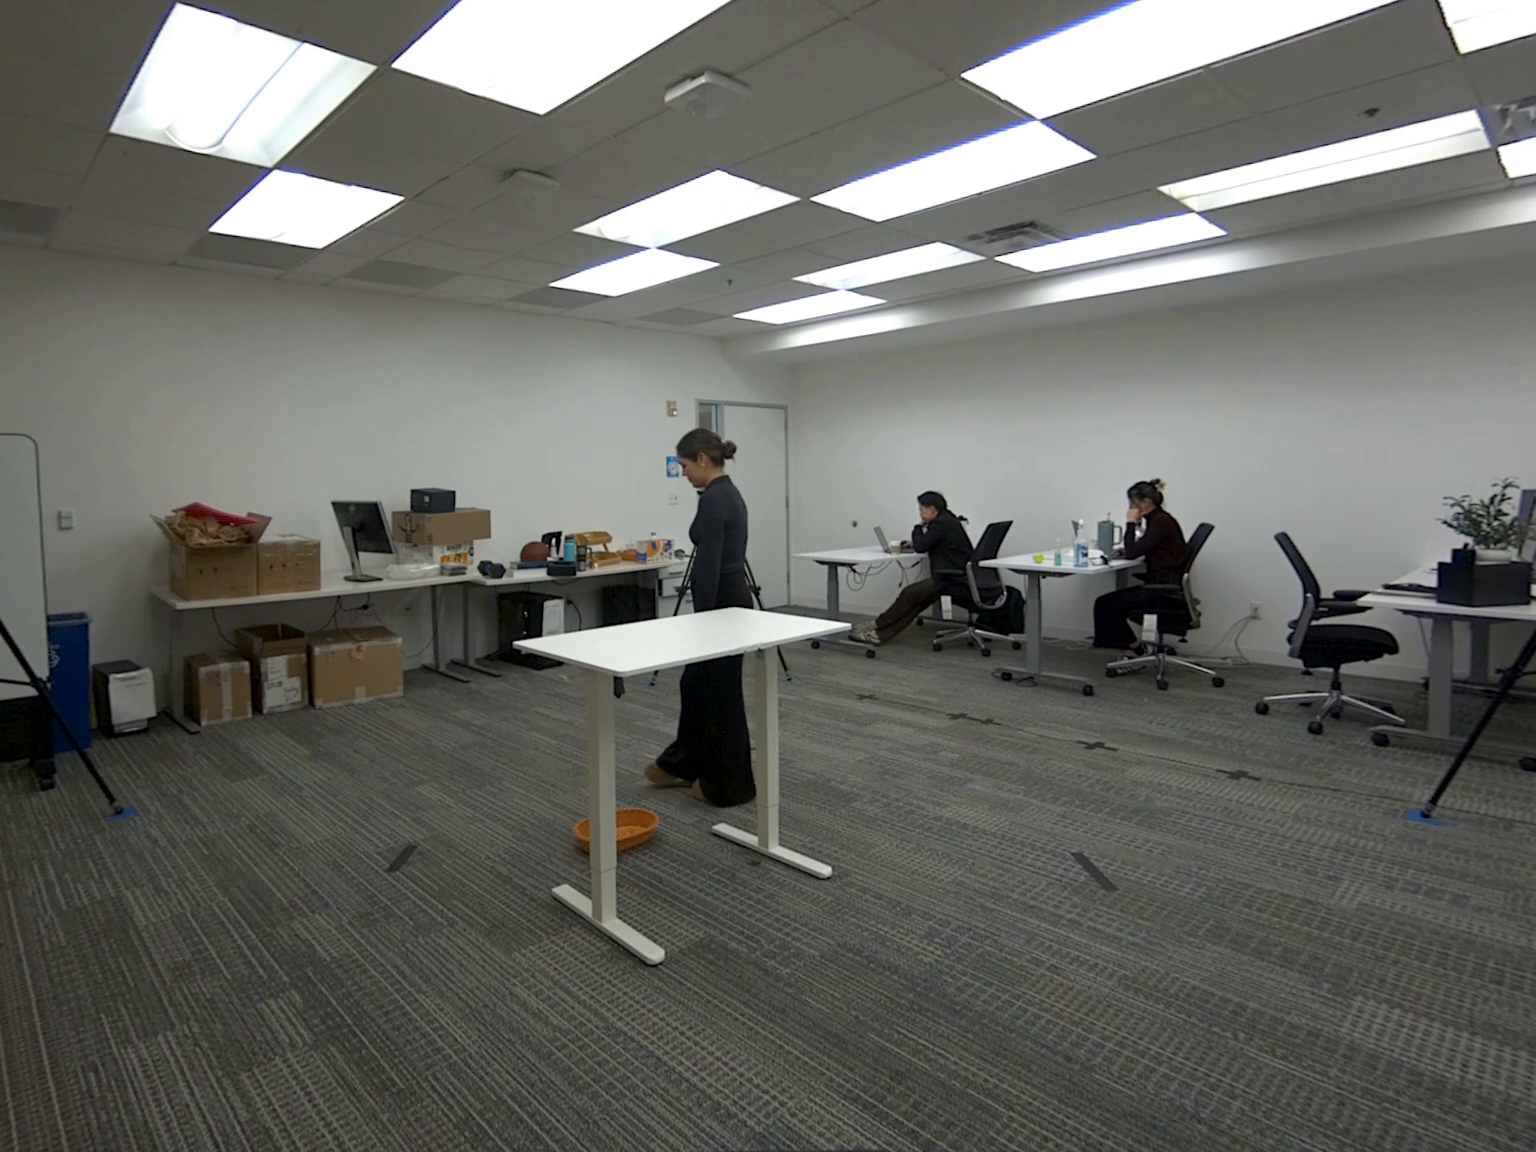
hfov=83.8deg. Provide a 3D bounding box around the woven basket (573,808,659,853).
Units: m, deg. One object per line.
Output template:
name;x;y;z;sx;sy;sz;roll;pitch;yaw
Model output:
woven basket;-0.583;0.985;3.308;0.341;0.073;0.260;-7;9;-39
